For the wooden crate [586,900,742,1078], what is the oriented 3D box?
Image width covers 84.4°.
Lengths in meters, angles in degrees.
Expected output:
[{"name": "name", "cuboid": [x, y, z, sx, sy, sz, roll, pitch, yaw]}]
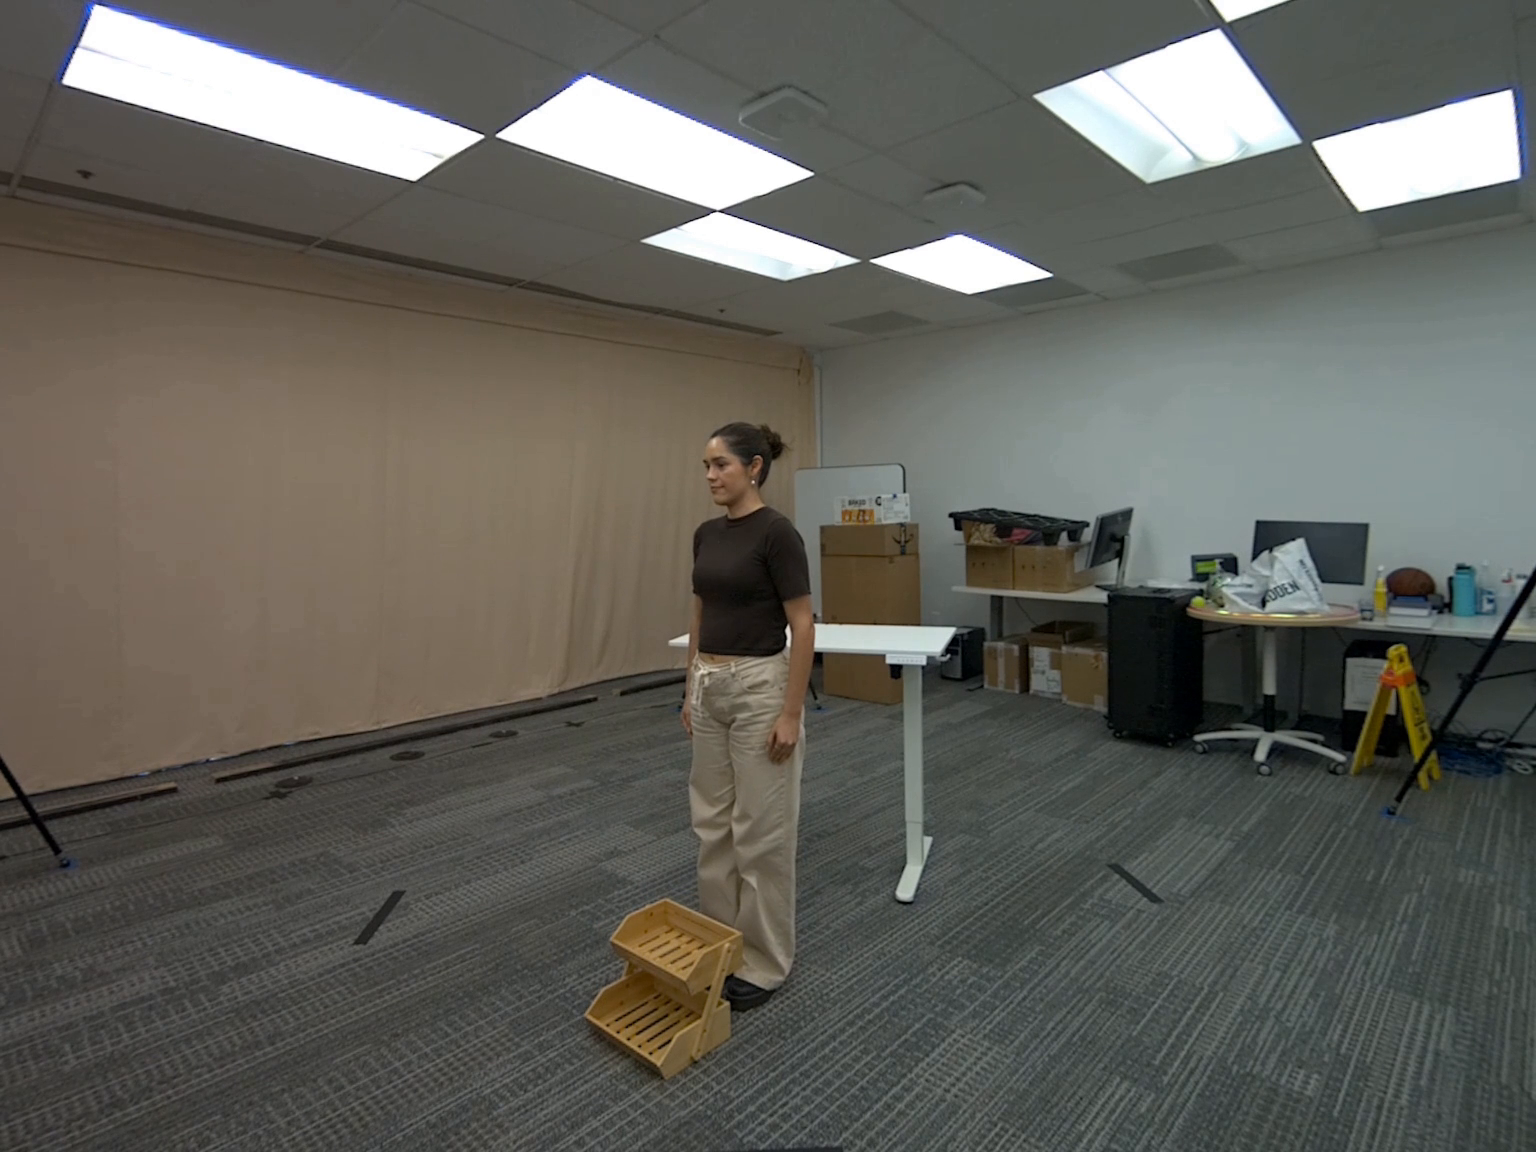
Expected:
[{"name": "wooden crate", "cuboid": [-0.278, 1.081, 2.226, 0.335, 0.273, 0.293, 3, 4, 43]}]
